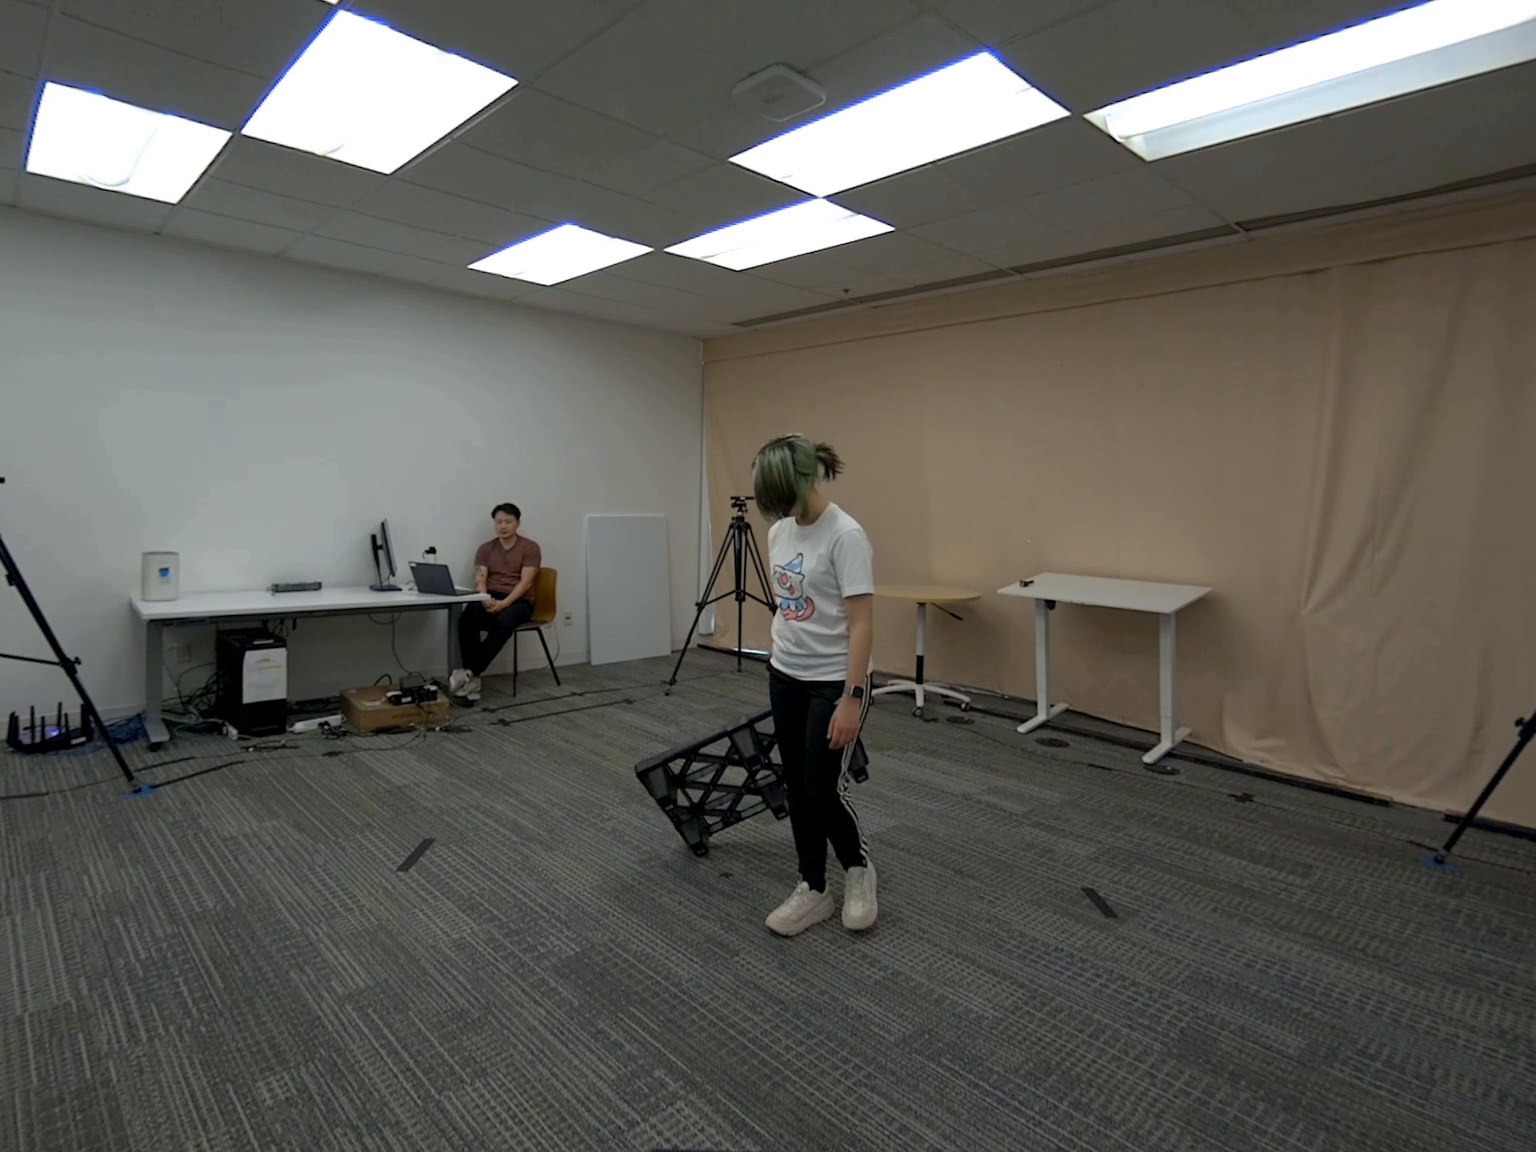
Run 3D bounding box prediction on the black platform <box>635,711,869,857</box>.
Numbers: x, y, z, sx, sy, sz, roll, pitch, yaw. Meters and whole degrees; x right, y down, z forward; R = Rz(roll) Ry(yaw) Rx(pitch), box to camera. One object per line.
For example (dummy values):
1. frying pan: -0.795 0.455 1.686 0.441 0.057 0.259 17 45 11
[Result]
1. black platform: -0.028 0.745 3.155 0.805 0.587 0.147 -24 43 -1
